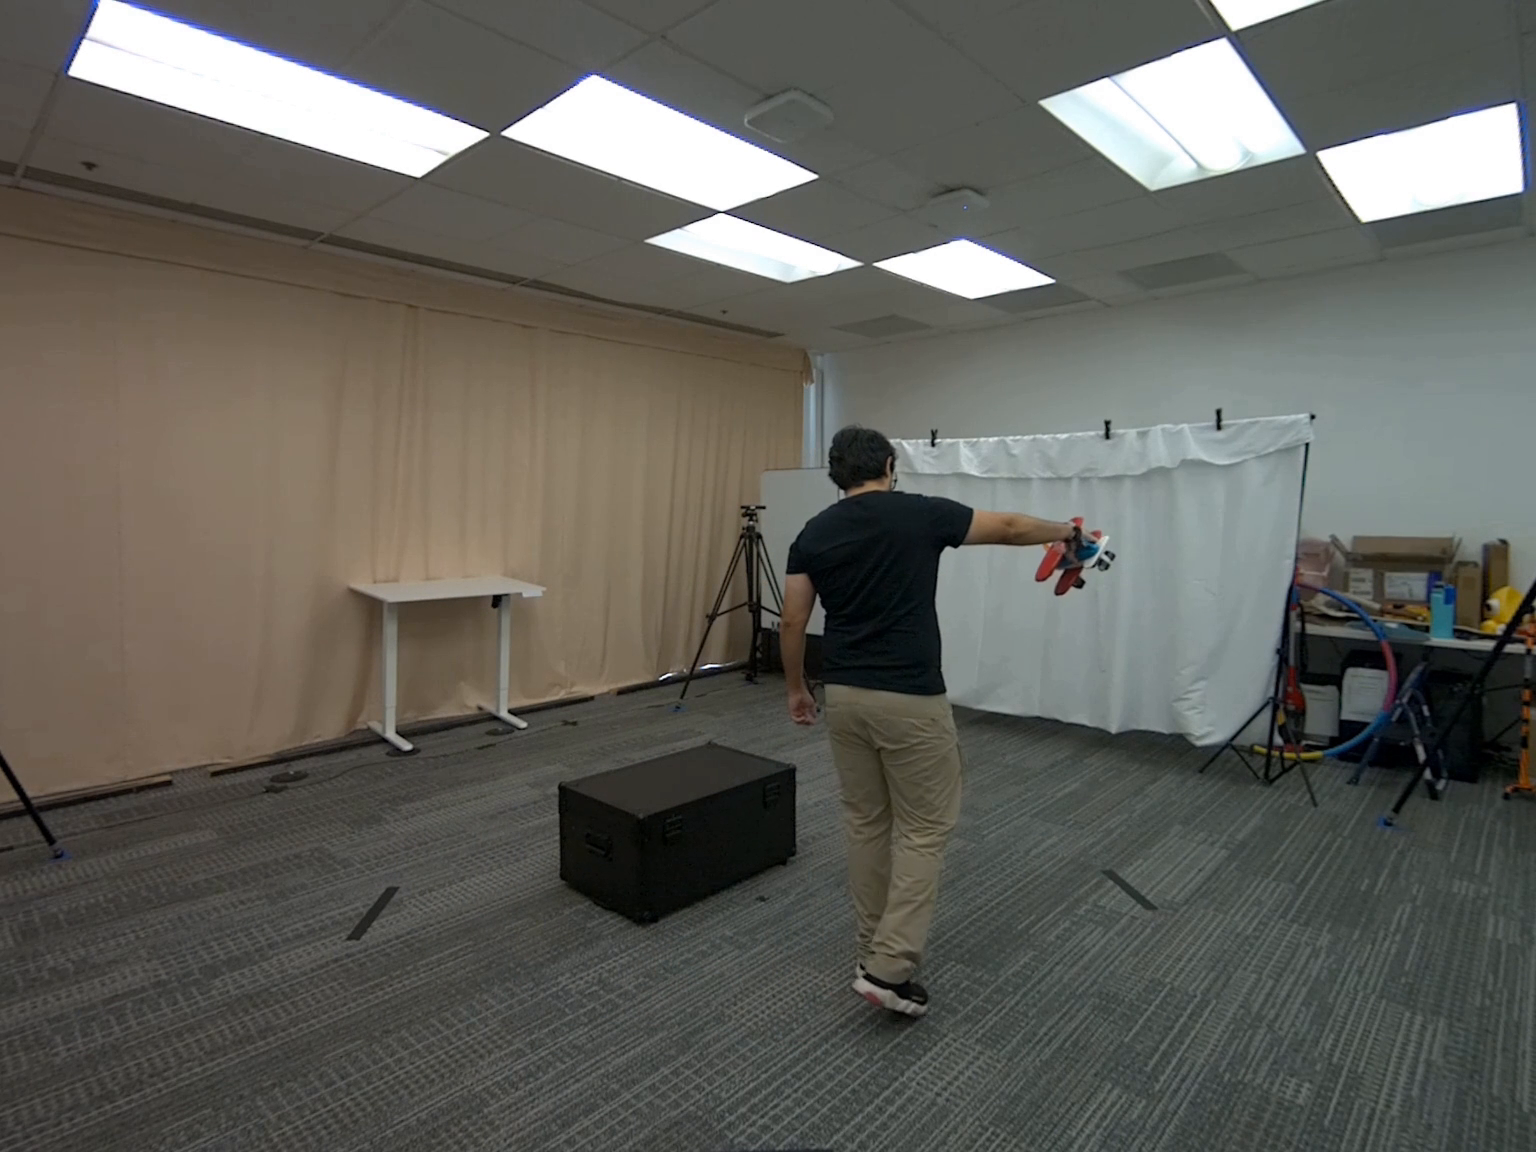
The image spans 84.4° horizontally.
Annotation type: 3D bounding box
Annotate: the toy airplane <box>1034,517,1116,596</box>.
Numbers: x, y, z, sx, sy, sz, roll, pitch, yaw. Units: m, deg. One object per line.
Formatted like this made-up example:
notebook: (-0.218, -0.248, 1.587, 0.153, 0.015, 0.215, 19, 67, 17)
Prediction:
toy airplane: (1.016, -0.061, 2.681, 0.158, 0.250, 0.258, 34, -34, 5)
